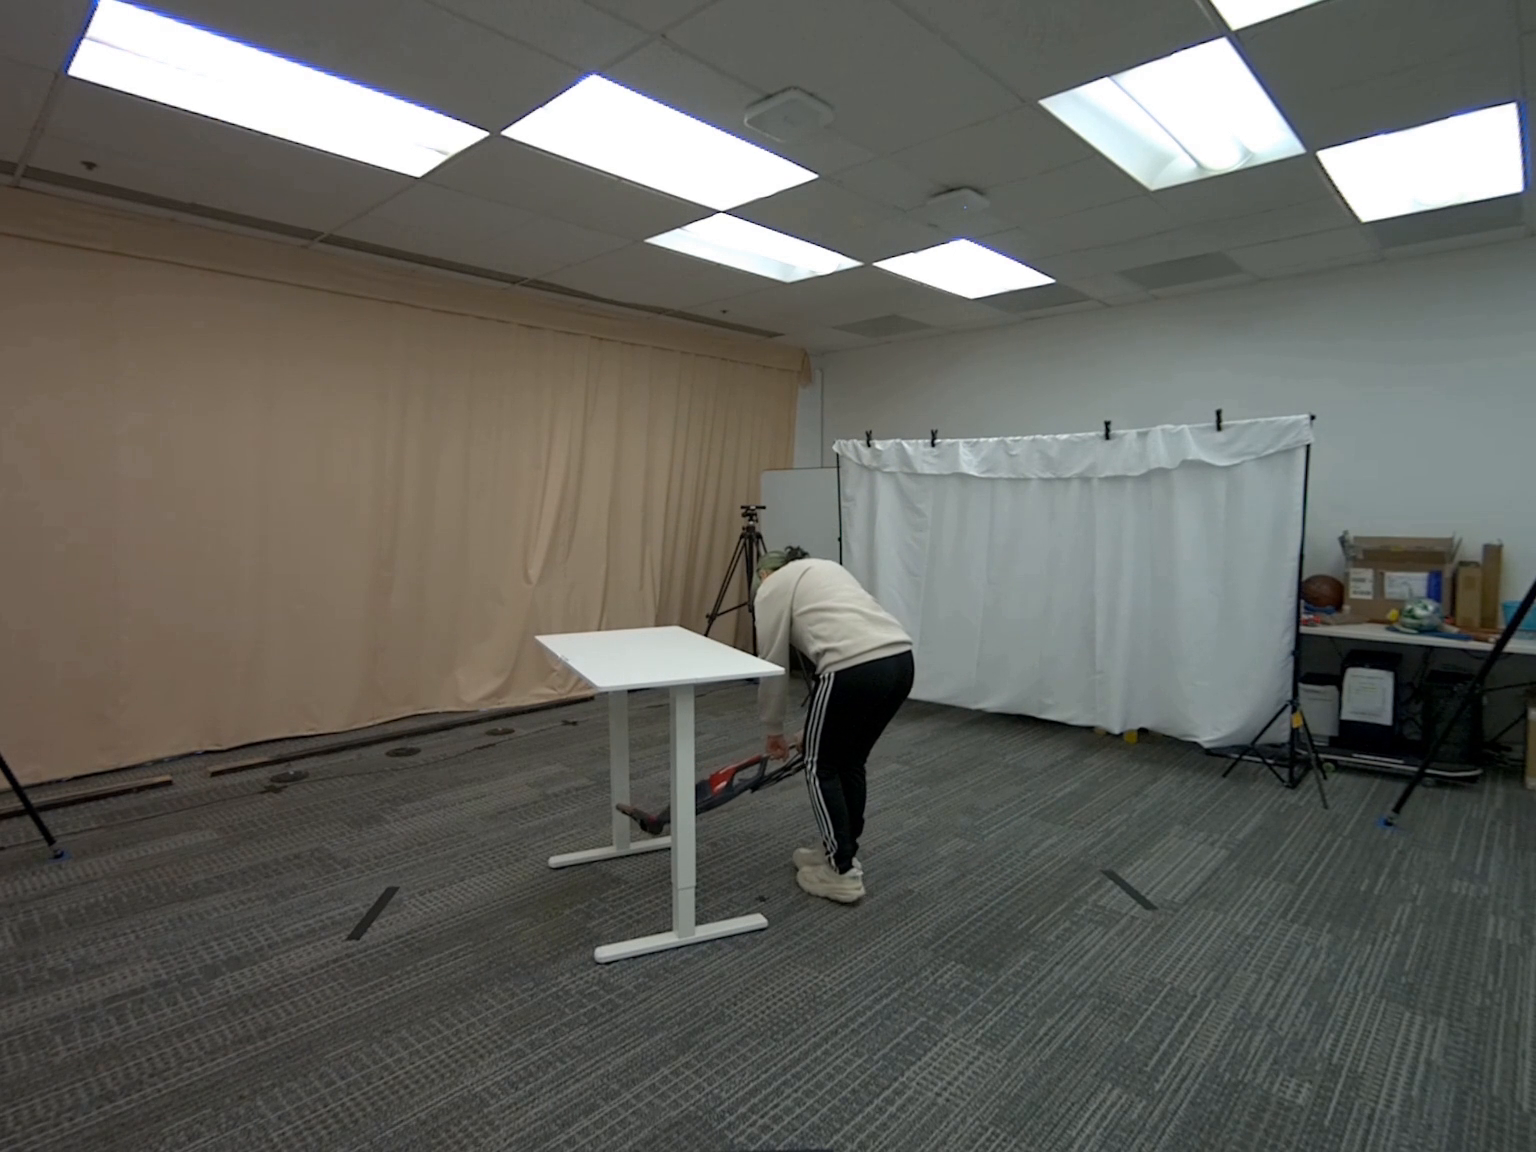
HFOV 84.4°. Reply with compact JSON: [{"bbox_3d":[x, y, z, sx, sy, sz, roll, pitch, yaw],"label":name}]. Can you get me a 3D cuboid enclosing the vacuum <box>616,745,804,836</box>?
[{"bbox_3d":[0.000,0.727,3.197,1.030,0.145,0.256,-17,-4,-23],"label":"vacuum"}]
